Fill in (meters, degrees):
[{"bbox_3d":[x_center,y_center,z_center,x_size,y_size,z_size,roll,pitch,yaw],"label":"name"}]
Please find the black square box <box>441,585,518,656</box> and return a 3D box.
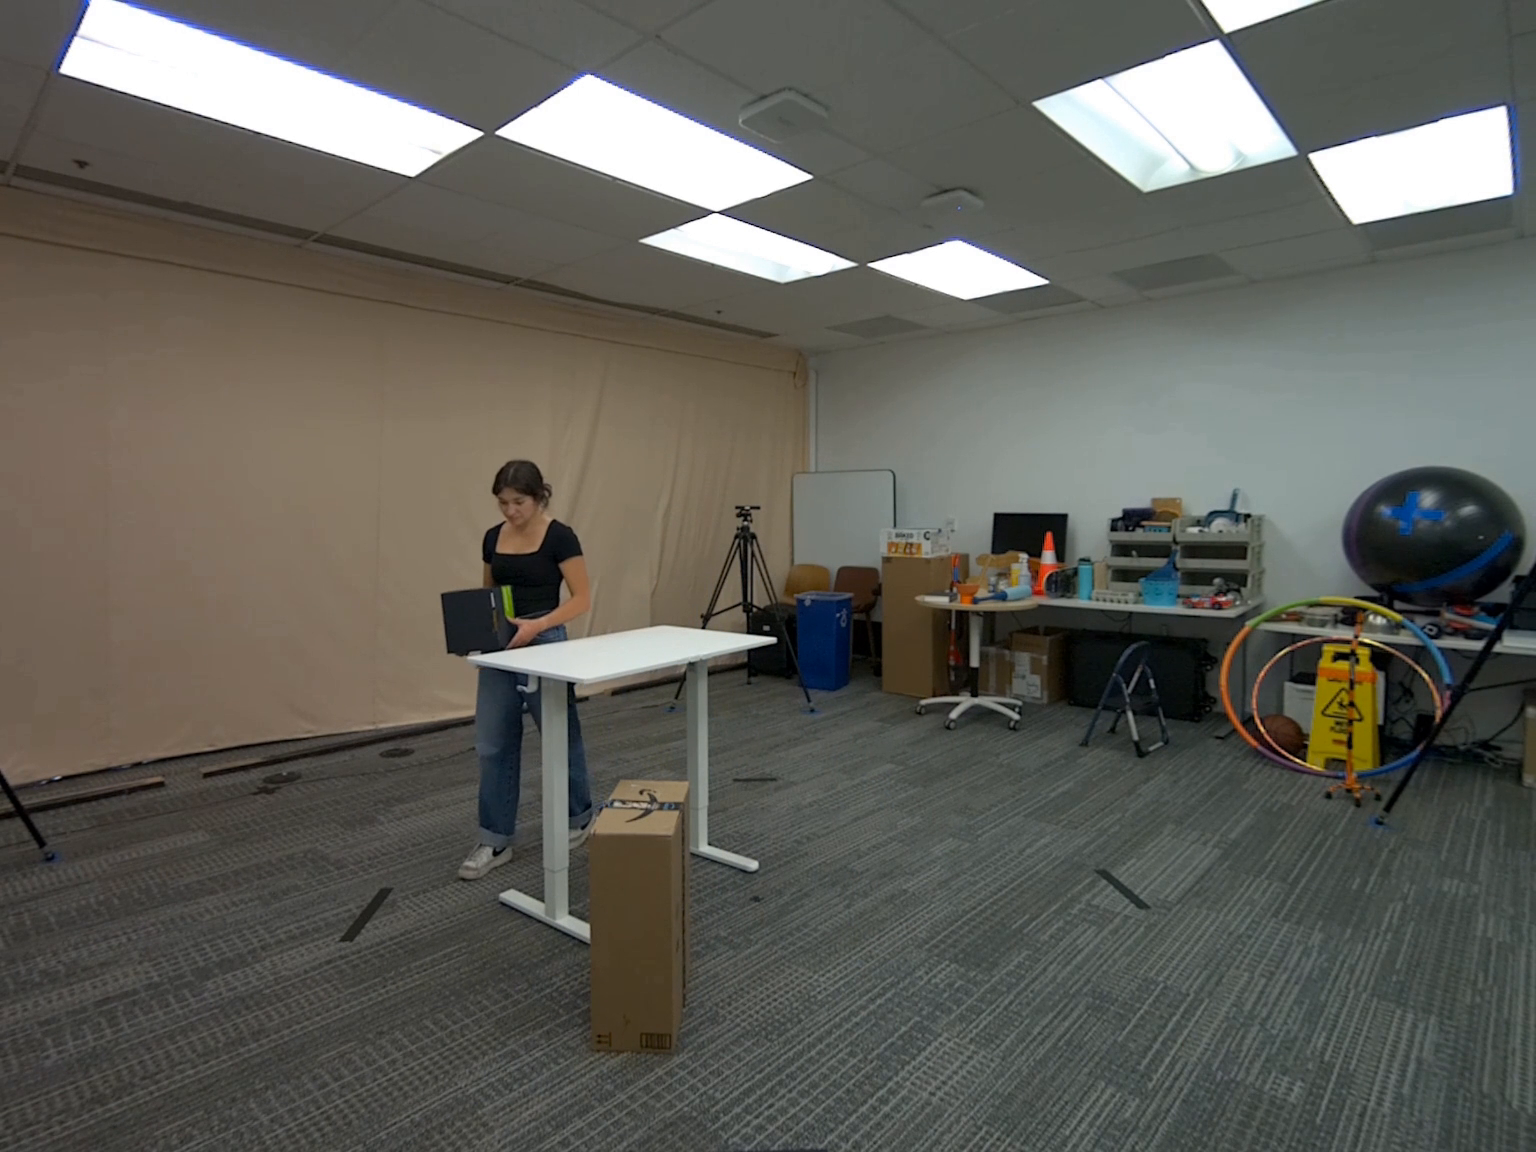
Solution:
[{"bbox_3d":[-1.072,0.157,3.144,0.220,0.228,0.154,-6,1,13],"label":"black square box"}]
